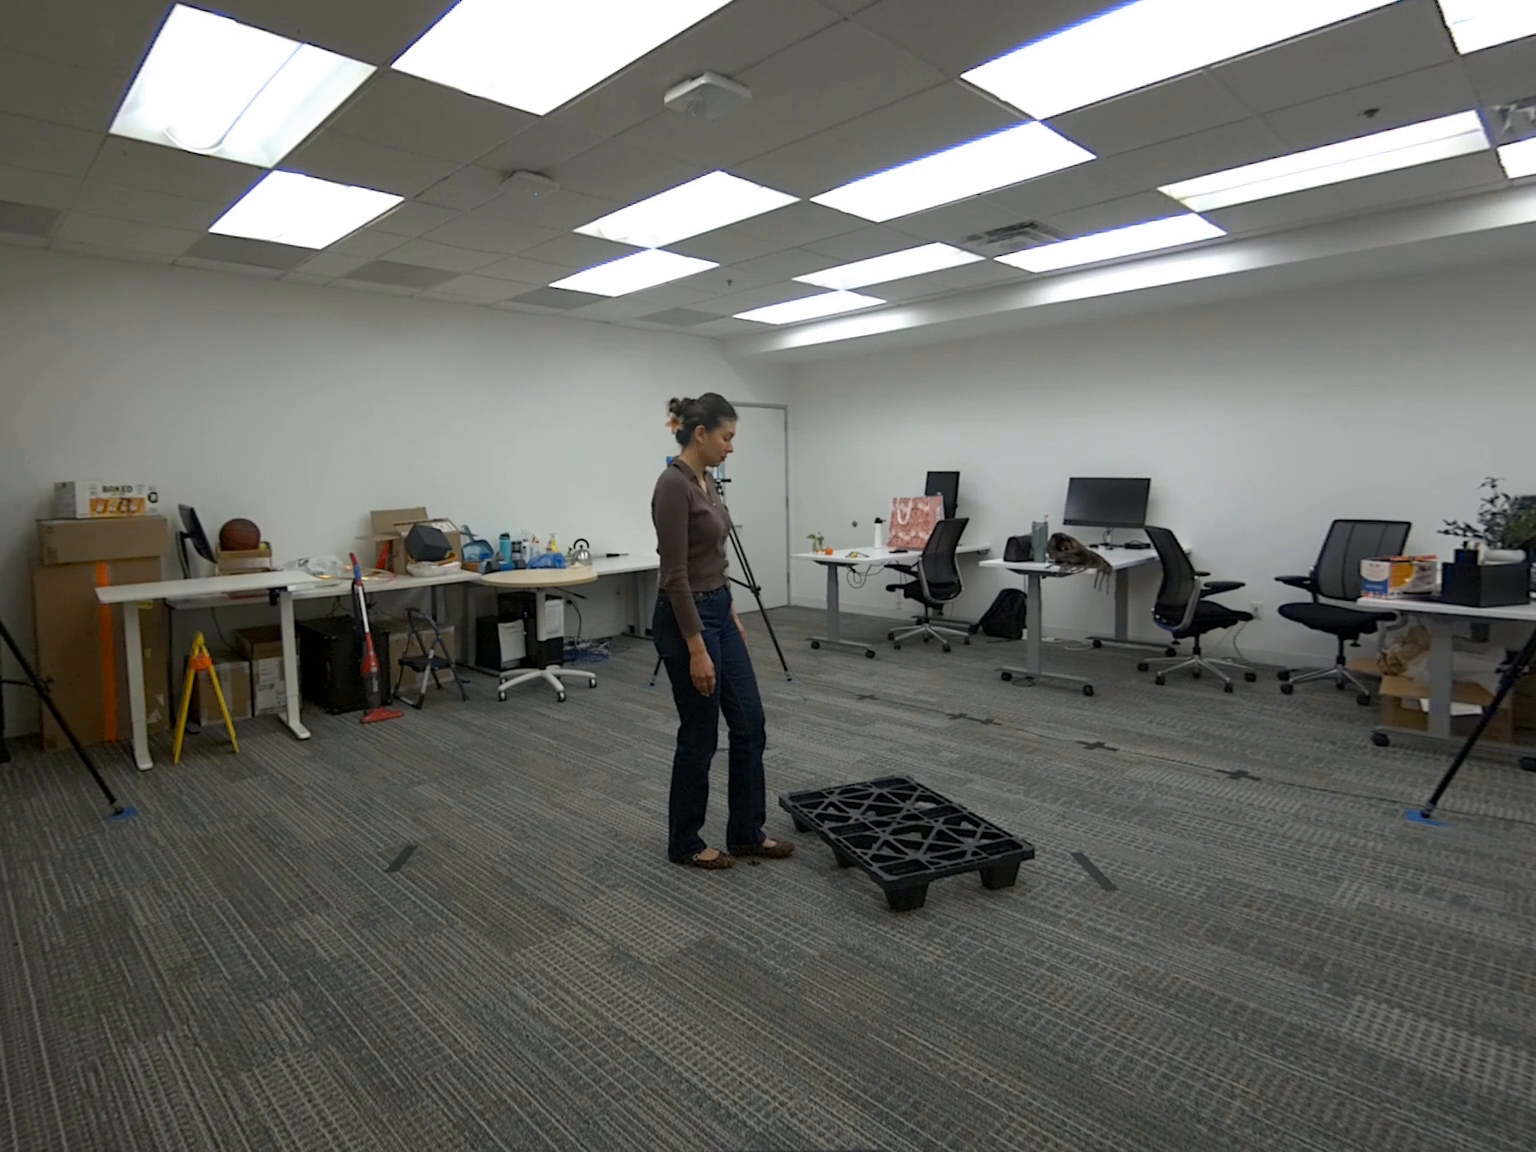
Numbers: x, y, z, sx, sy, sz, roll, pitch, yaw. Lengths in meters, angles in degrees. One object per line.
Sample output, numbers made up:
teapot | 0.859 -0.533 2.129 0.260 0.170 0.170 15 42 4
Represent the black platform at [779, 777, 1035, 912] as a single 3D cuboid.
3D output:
black platform | 0.475 0.964 3.149 0.594 0.142 0.825 -5 7 -23
